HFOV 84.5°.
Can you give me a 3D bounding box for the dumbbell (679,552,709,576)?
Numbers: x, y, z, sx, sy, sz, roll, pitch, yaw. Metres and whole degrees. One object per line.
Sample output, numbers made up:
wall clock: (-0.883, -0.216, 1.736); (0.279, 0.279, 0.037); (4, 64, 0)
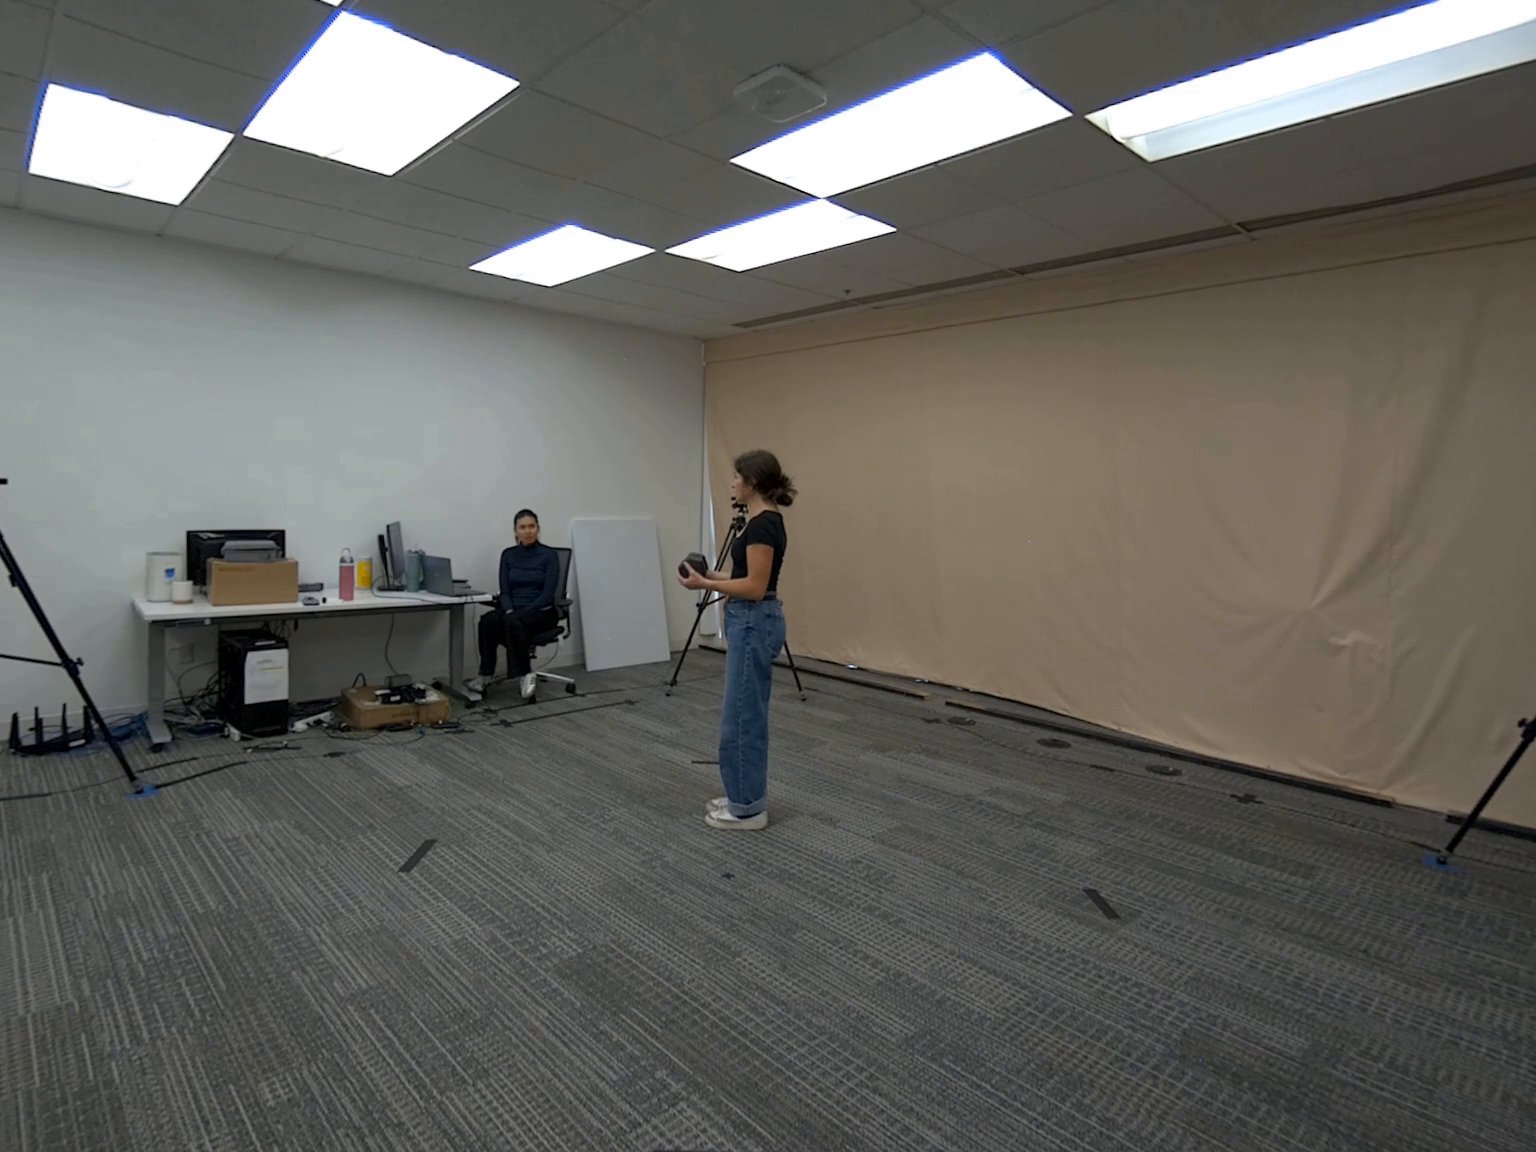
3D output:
dumbbell: (-0.319, -0.040, 3.643); (0.109, 0.122, 0.294); (-22, 5, 1)
